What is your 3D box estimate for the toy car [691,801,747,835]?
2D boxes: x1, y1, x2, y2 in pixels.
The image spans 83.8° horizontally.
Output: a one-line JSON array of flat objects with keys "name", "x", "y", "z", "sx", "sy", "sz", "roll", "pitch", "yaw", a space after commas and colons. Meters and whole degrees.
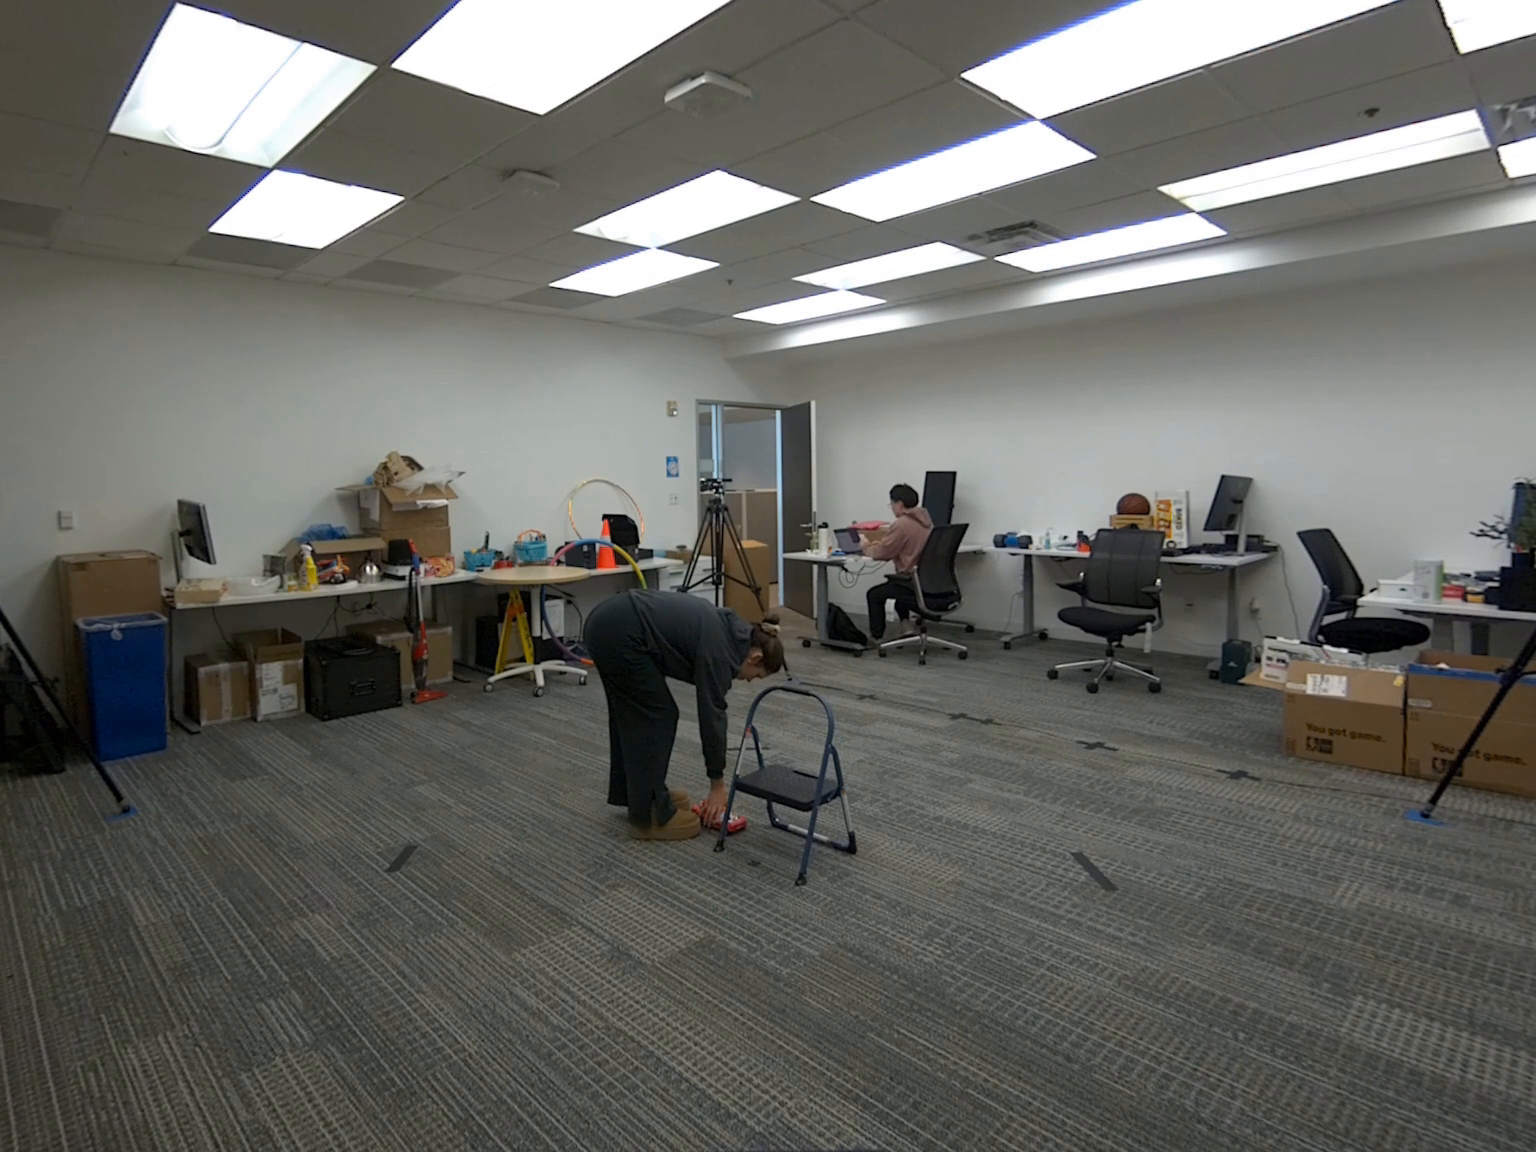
[{"name": "toy car", "x": -0.205, "y": 0.981, "z": 3.446, "sx": 0.127, "sy": 0.082, "sz": 0.264, "roll": -8, "pitch": 19, "yaw": -43}]
